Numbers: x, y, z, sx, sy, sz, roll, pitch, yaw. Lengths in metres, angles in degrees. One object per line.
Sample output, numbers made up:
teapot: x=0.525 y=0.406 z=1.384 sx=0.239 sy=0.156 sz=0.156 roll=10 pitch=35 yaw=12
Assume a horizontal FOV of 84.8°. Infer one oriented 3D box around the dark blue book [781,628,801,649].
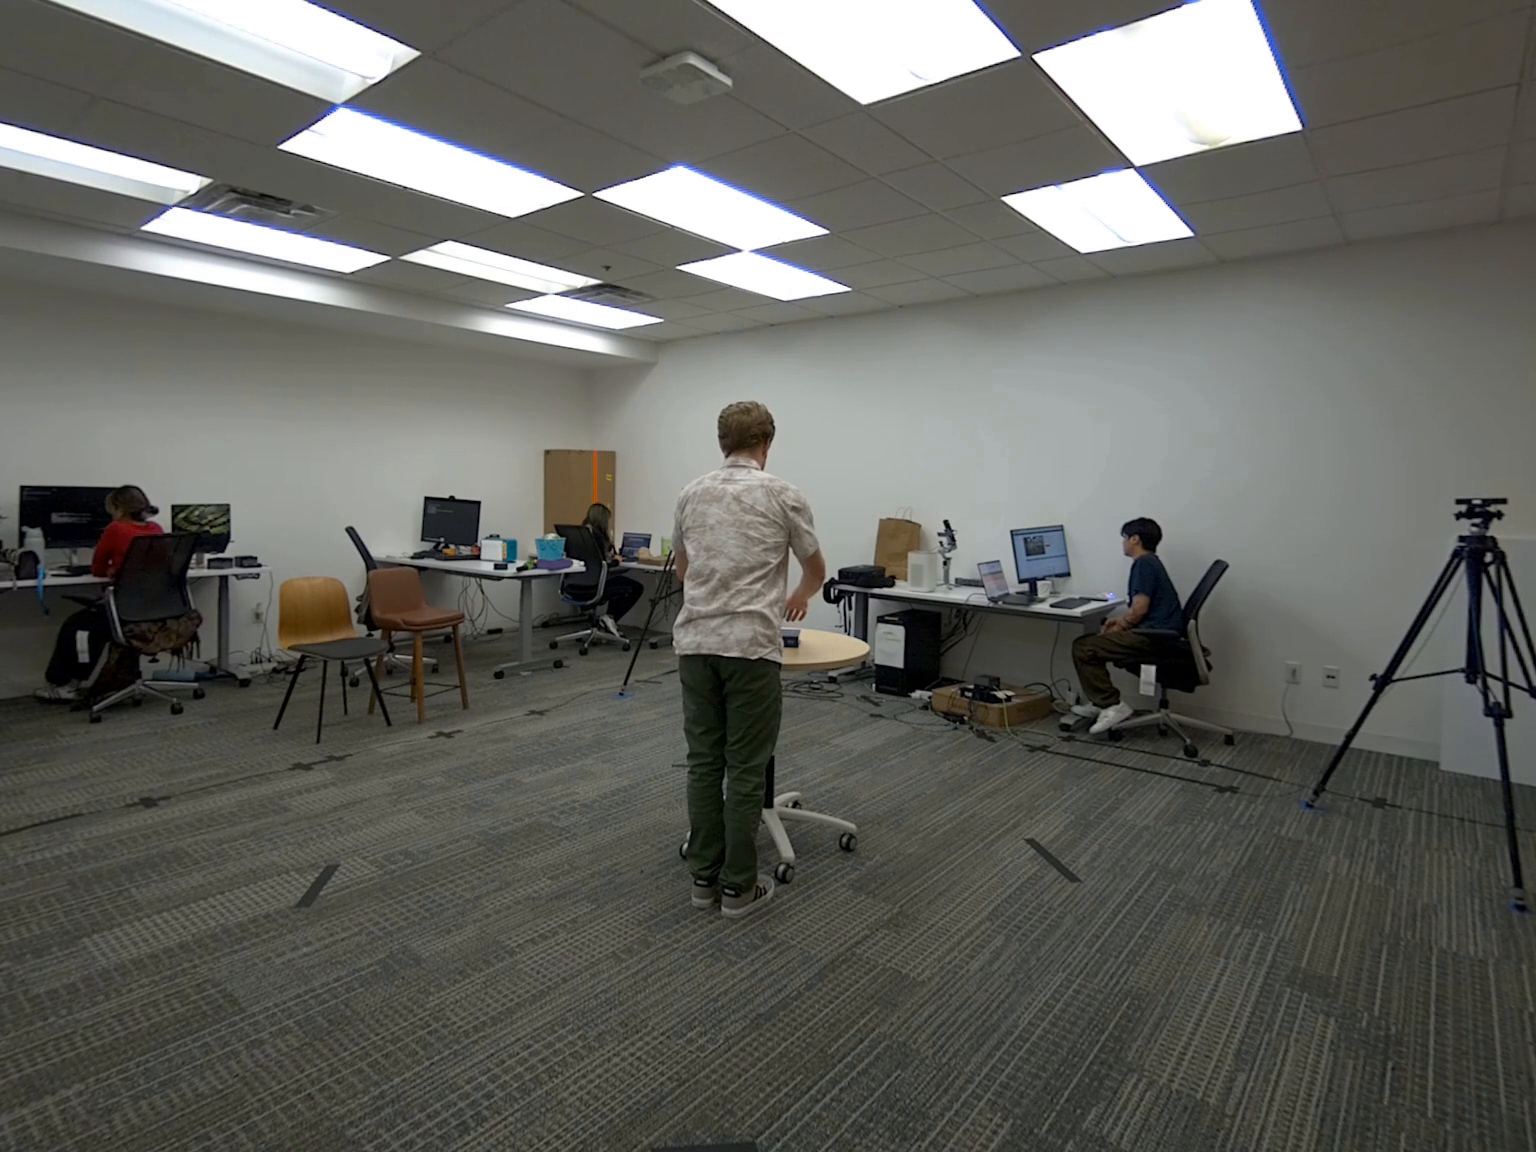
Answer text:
dark blue book: x=-0.005 y=0.235 z=3.343 sx=0.247 sy=0.045 sz=0.163 roll=2 pitch=6 yaw=8
